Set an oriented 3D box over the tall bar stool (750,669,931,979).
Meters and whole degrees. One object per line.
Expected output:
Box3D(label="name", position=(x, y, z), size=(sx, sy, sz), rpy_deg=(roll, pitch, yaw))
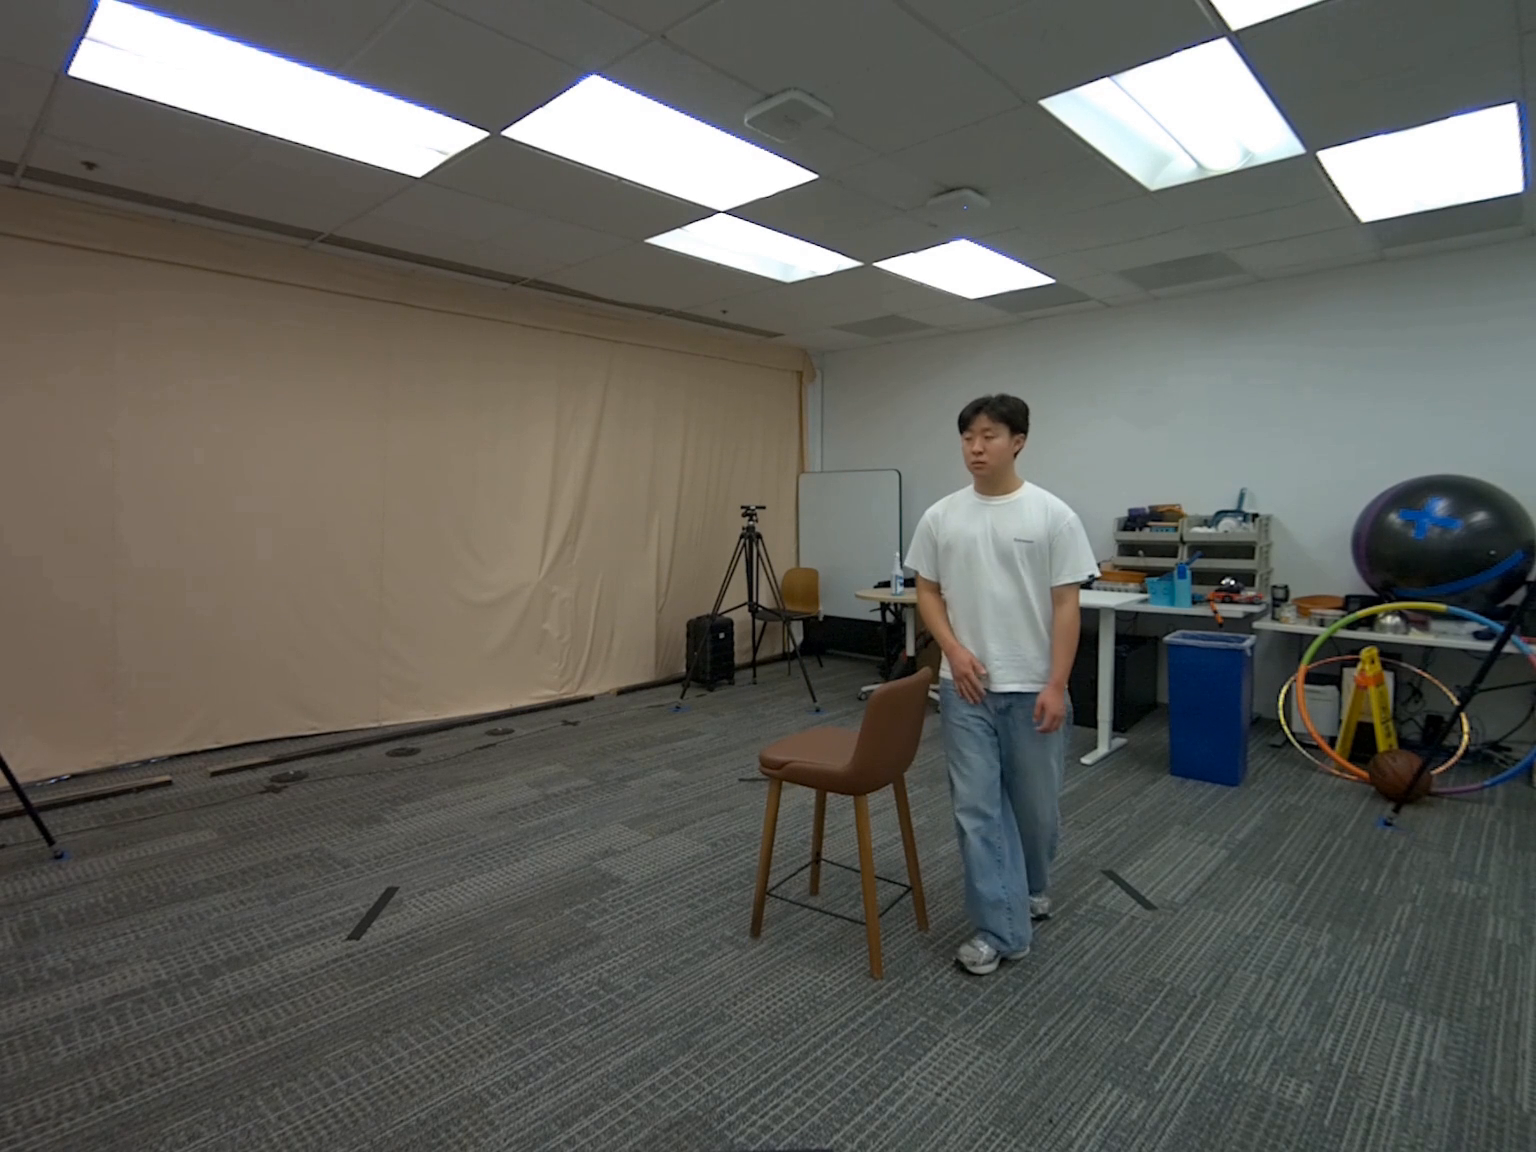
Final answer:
Box3D(label="tall bar stool", position=(0.250, 0.730, 2.721), size=(0.483, 0.887, 0.443), rpy_deg=(5, 5, 35))
